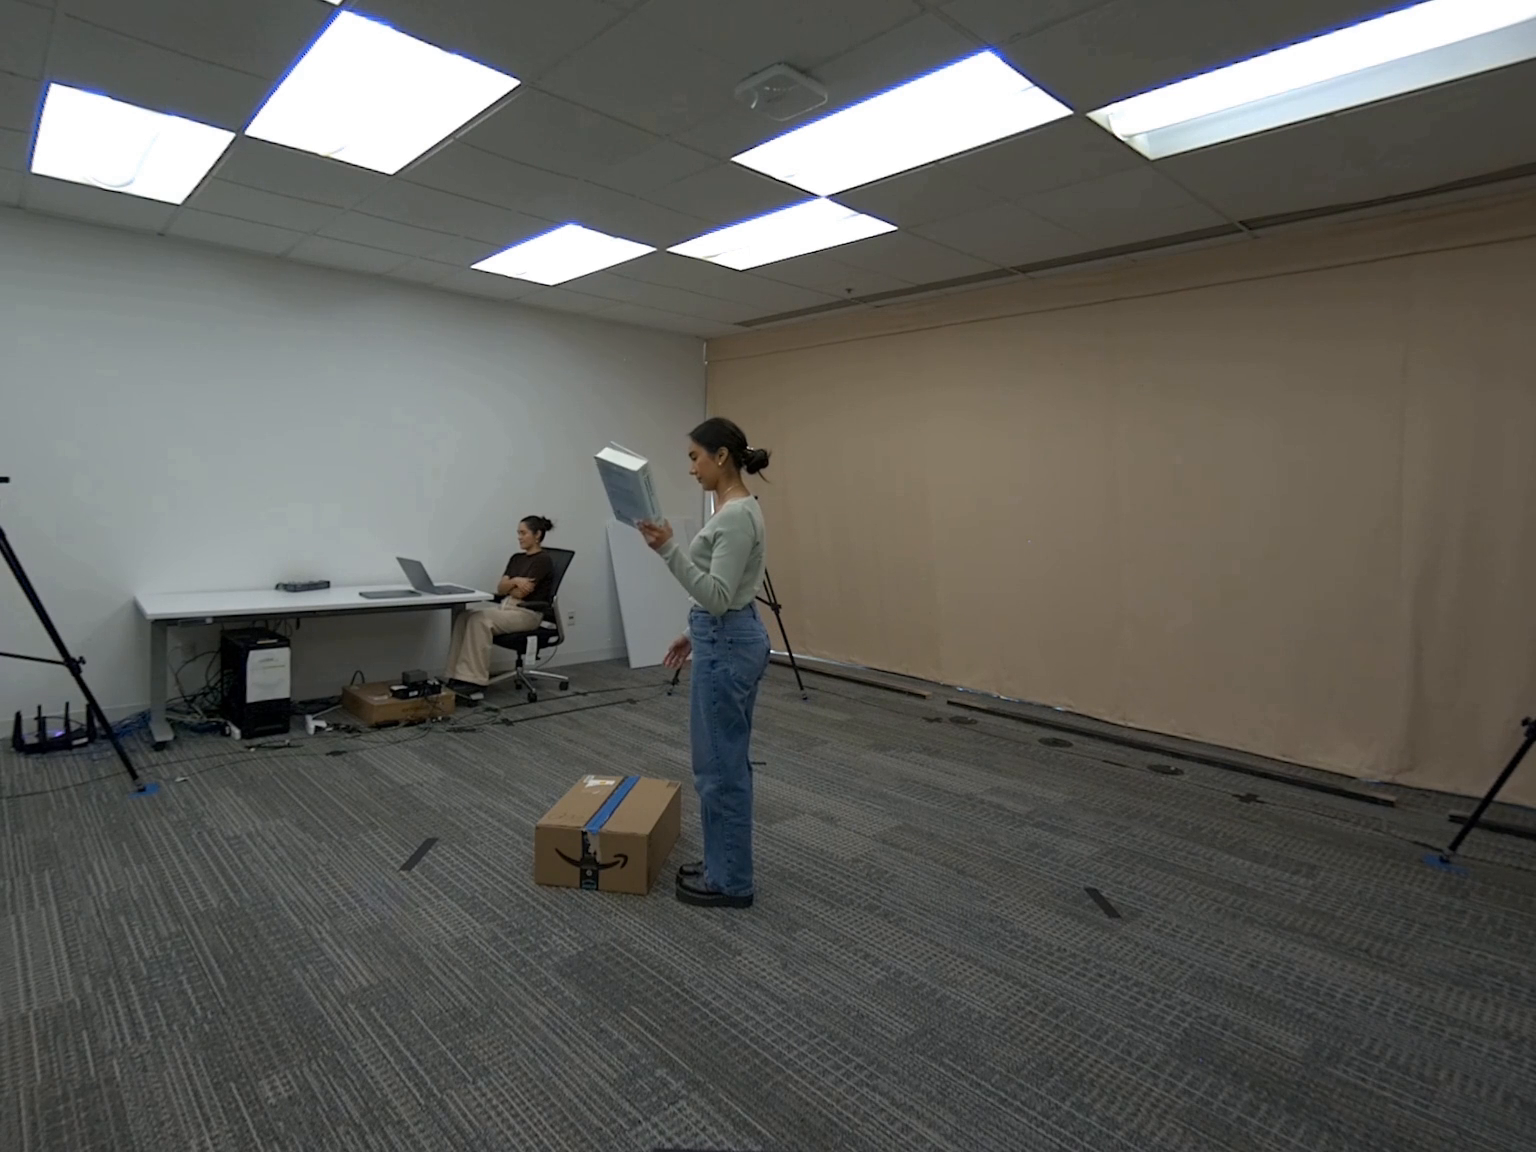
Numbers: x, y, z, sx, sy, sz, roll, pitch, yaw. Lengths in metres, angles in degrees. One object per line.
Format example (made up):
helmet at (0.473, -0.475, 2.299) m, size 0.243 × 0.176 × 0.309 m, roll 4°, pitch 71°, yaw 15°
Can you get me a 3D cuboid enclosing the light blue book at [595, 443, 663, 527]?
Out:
light blue book at (-0.428, -0.261, 2.609) m, size 0.197 × 0.254 × 0.059 m, roll 27°, pitch 53°, yaw 35°
